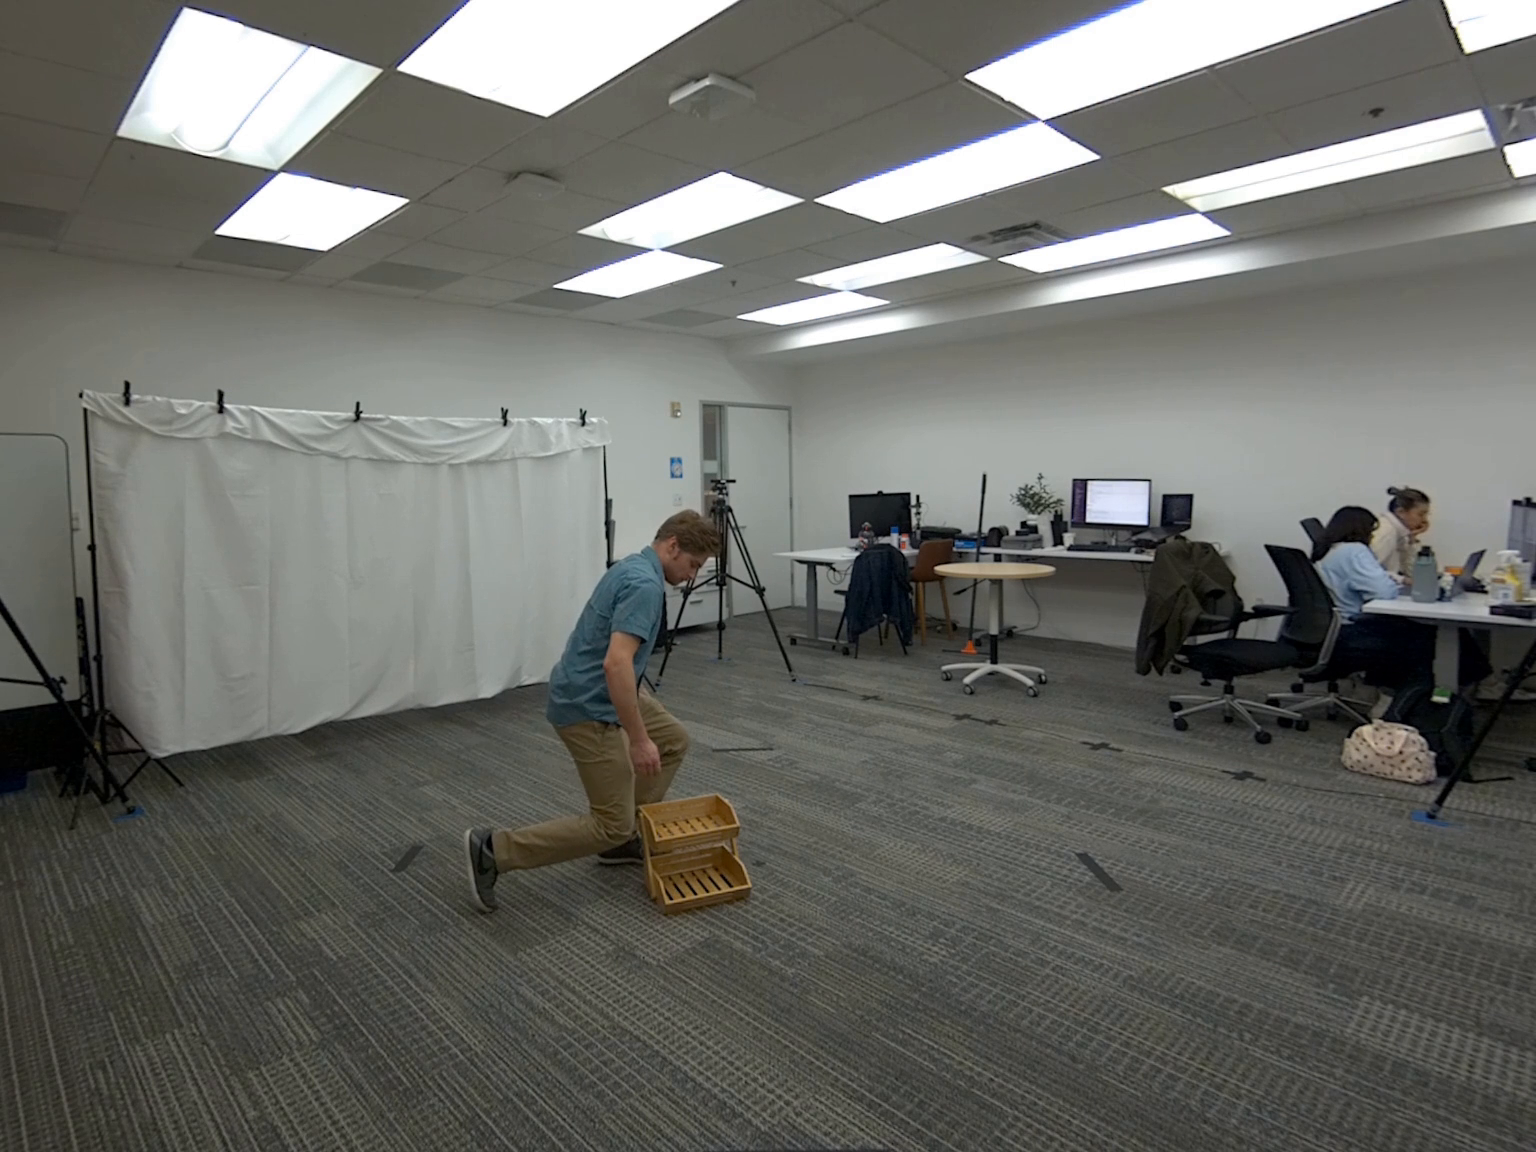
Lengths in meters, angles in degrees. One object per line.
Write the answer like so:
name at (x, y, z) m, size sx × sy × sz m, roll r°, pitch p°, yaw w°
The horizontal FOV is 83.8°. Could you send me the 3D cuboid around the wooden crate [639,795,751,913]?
wooden crate at (-0.251, 0.933, 2.920) m, size 0.318 × 0.272 × 0.309 m, roll -4°, pitch 5°, yaw -23°
